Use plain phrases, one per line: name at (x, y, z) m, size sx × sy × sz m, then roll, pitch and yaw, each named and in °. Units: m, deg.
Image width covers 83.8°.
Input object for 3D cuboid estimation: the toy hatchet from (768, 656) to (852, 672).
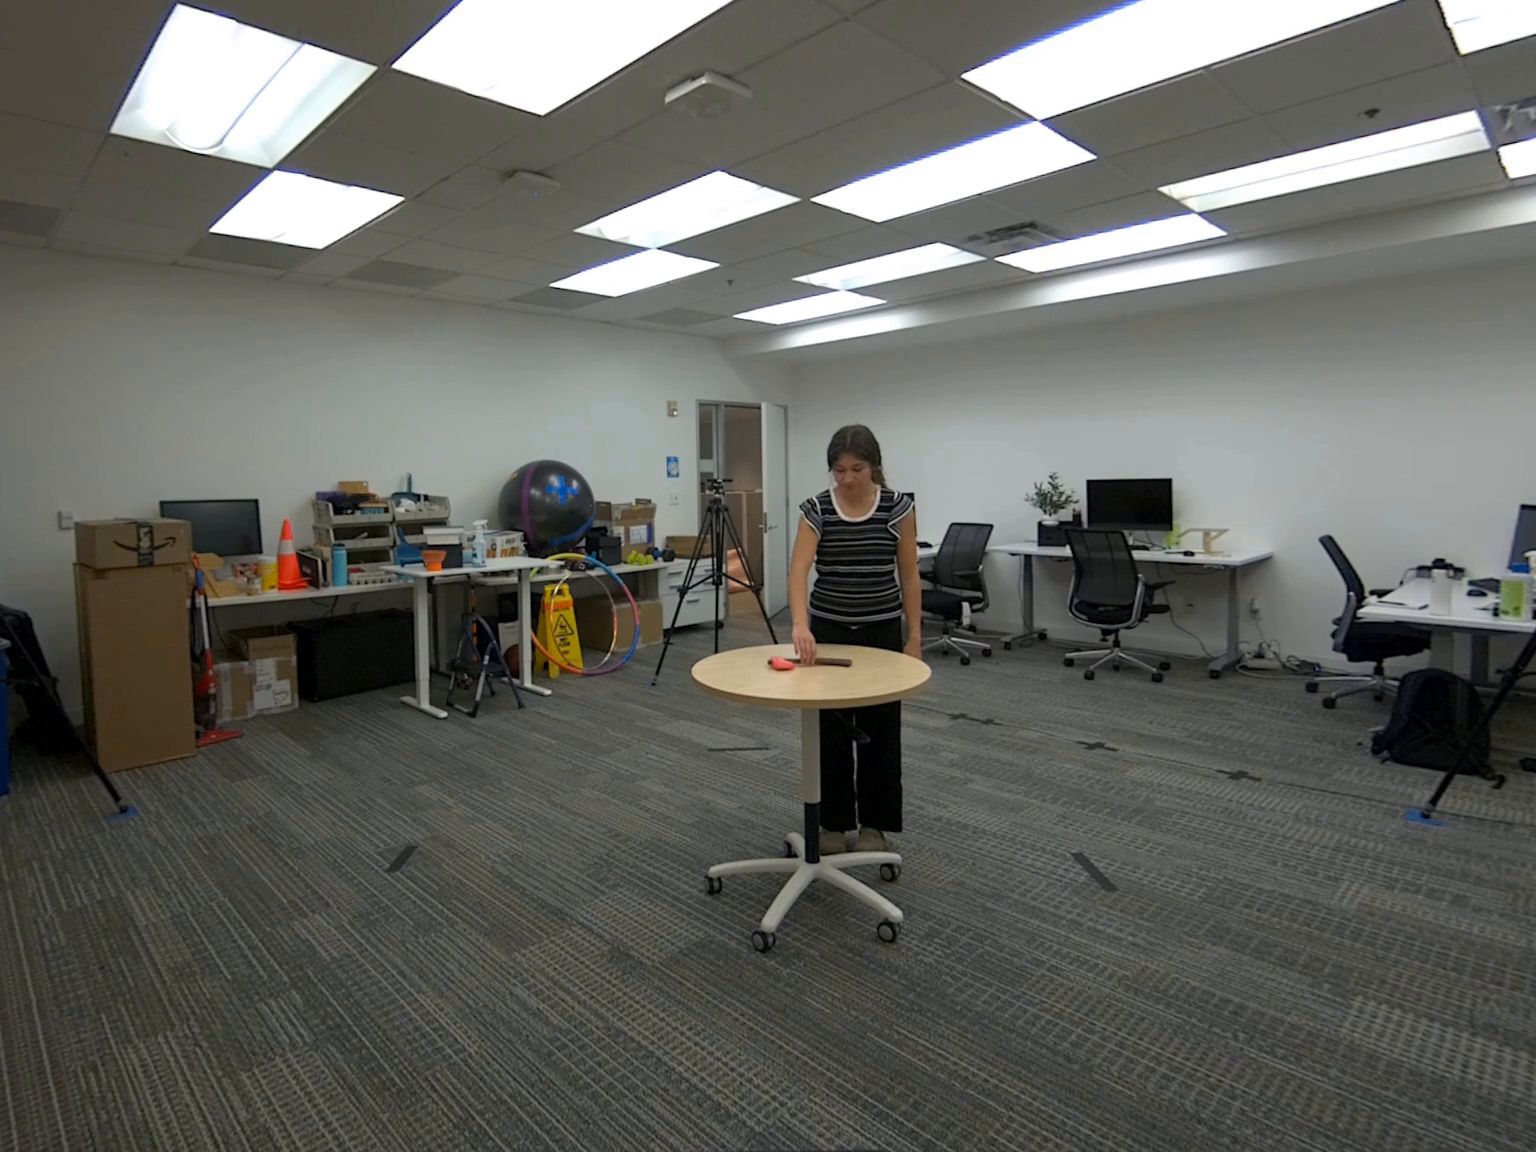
toy hatchet at (0.146, 0.285, 2.756) m, size 0.274 × 0.029 × 0.130 m, roll 0°, pitch 7°, yaw 13°
